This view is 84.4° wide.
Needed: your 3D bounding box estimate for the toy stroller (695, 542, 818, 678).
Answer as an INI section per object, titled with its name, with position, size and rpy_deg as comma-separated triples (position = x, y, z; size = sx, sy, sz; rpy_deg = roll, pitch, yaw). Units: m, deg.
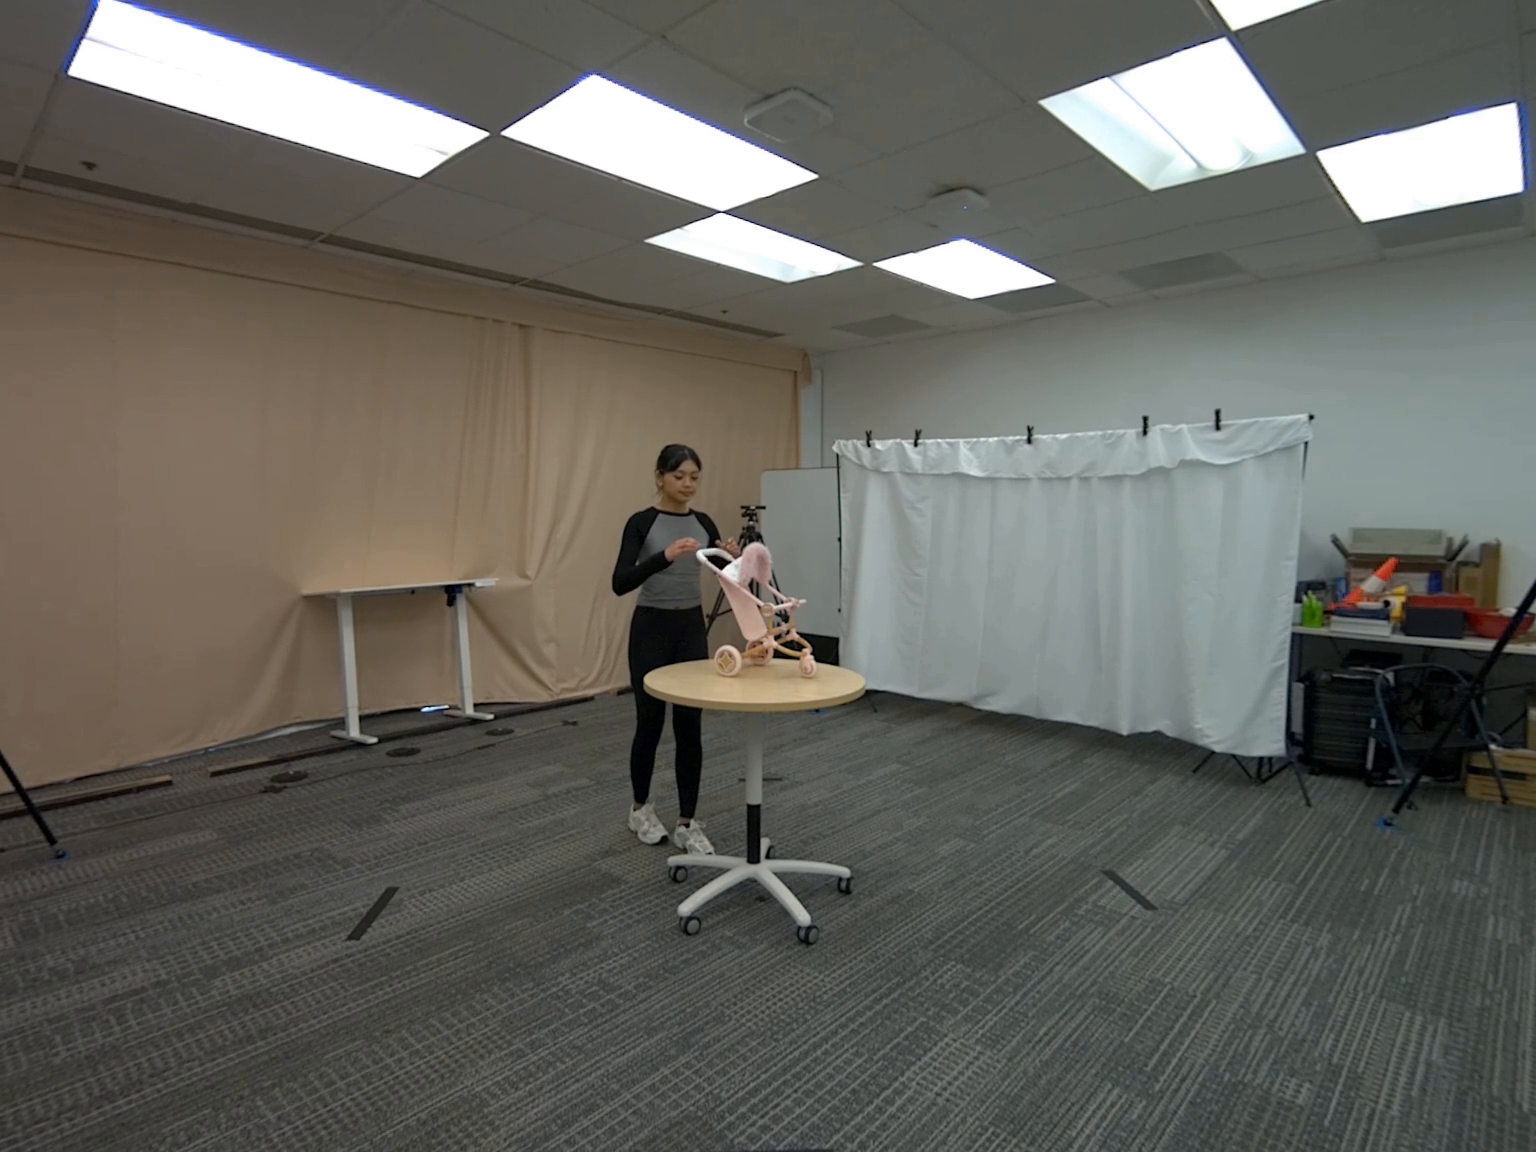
[toy stroller]
position = -0.025, 0.123, 3.012
size = 0.349, 0.537, 0.274
rpy_deg = -15, -5, 32
